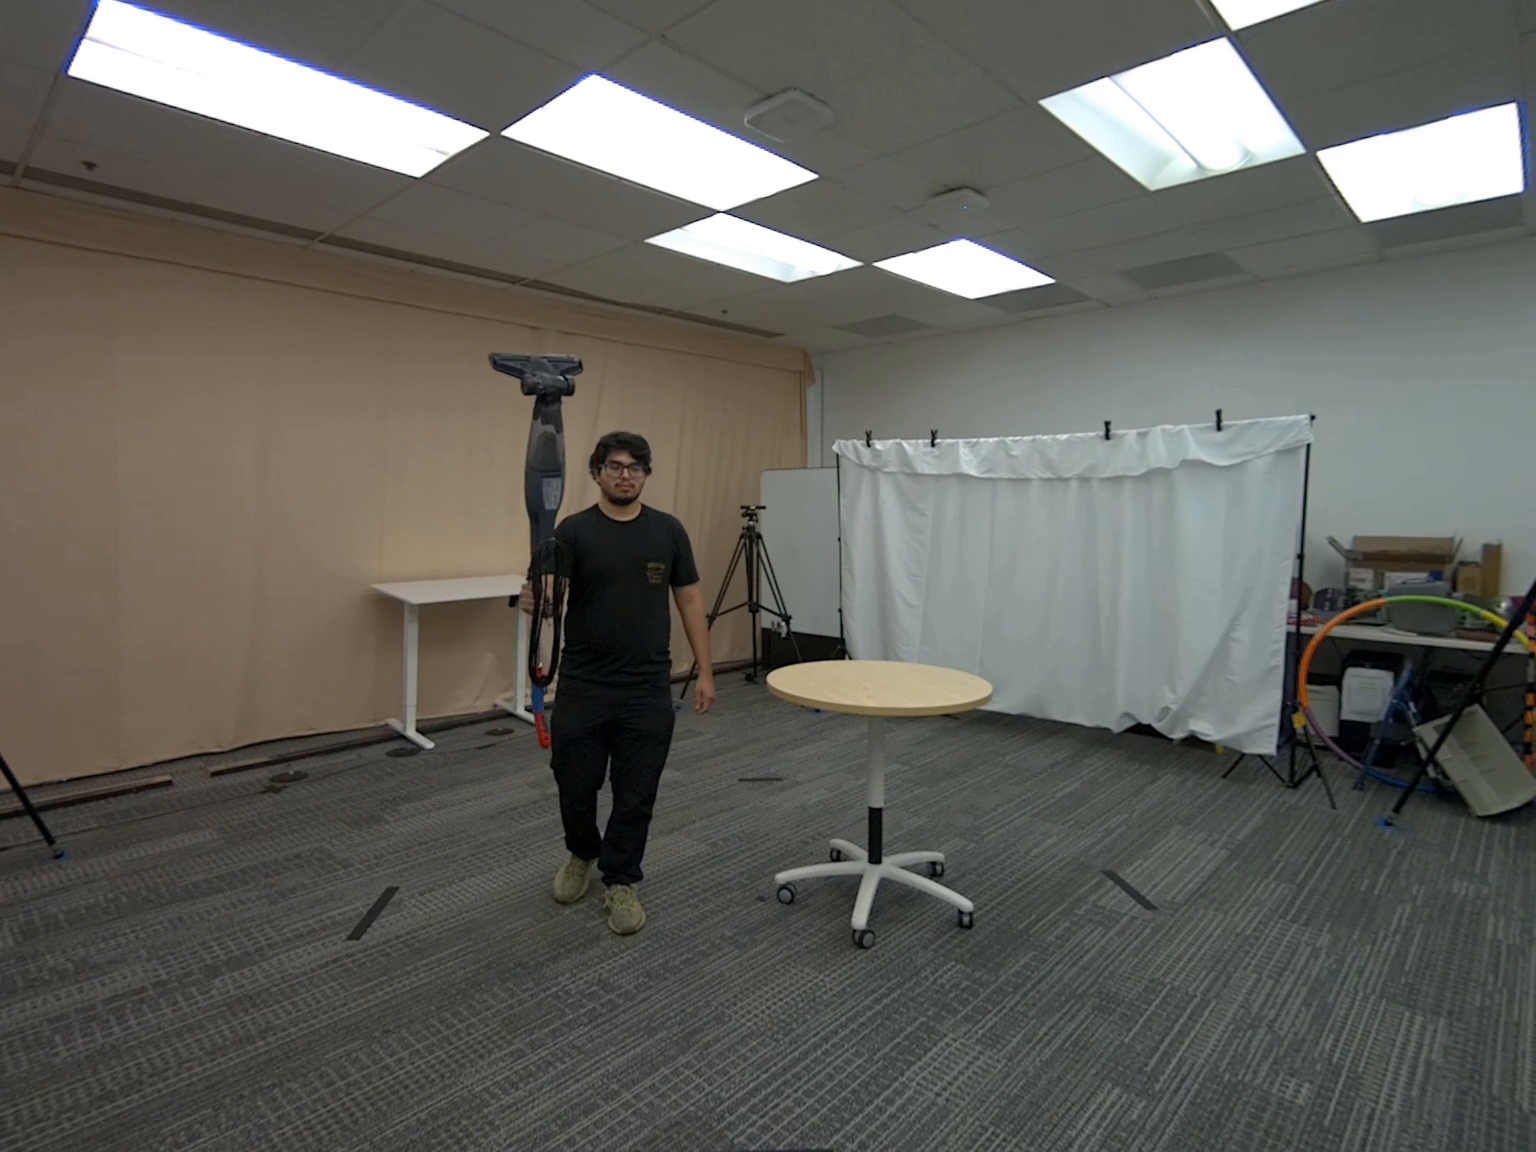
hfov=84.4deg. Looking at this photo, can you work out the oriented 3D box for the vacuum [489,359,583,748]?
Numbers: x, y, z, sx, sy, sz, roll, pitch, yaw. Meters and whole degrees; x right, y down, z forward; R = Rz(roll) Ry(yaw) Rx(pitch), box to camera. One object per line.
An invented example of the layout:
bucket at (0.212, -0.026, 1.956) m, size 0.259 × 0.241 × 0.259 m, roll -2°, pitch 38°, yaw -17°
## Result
vacuum at (-0.616, -0.030, 2.301) m, size 0.246 × 1.041 × 0.149 m, roll -6°, pitch 14°, yaw -29°
